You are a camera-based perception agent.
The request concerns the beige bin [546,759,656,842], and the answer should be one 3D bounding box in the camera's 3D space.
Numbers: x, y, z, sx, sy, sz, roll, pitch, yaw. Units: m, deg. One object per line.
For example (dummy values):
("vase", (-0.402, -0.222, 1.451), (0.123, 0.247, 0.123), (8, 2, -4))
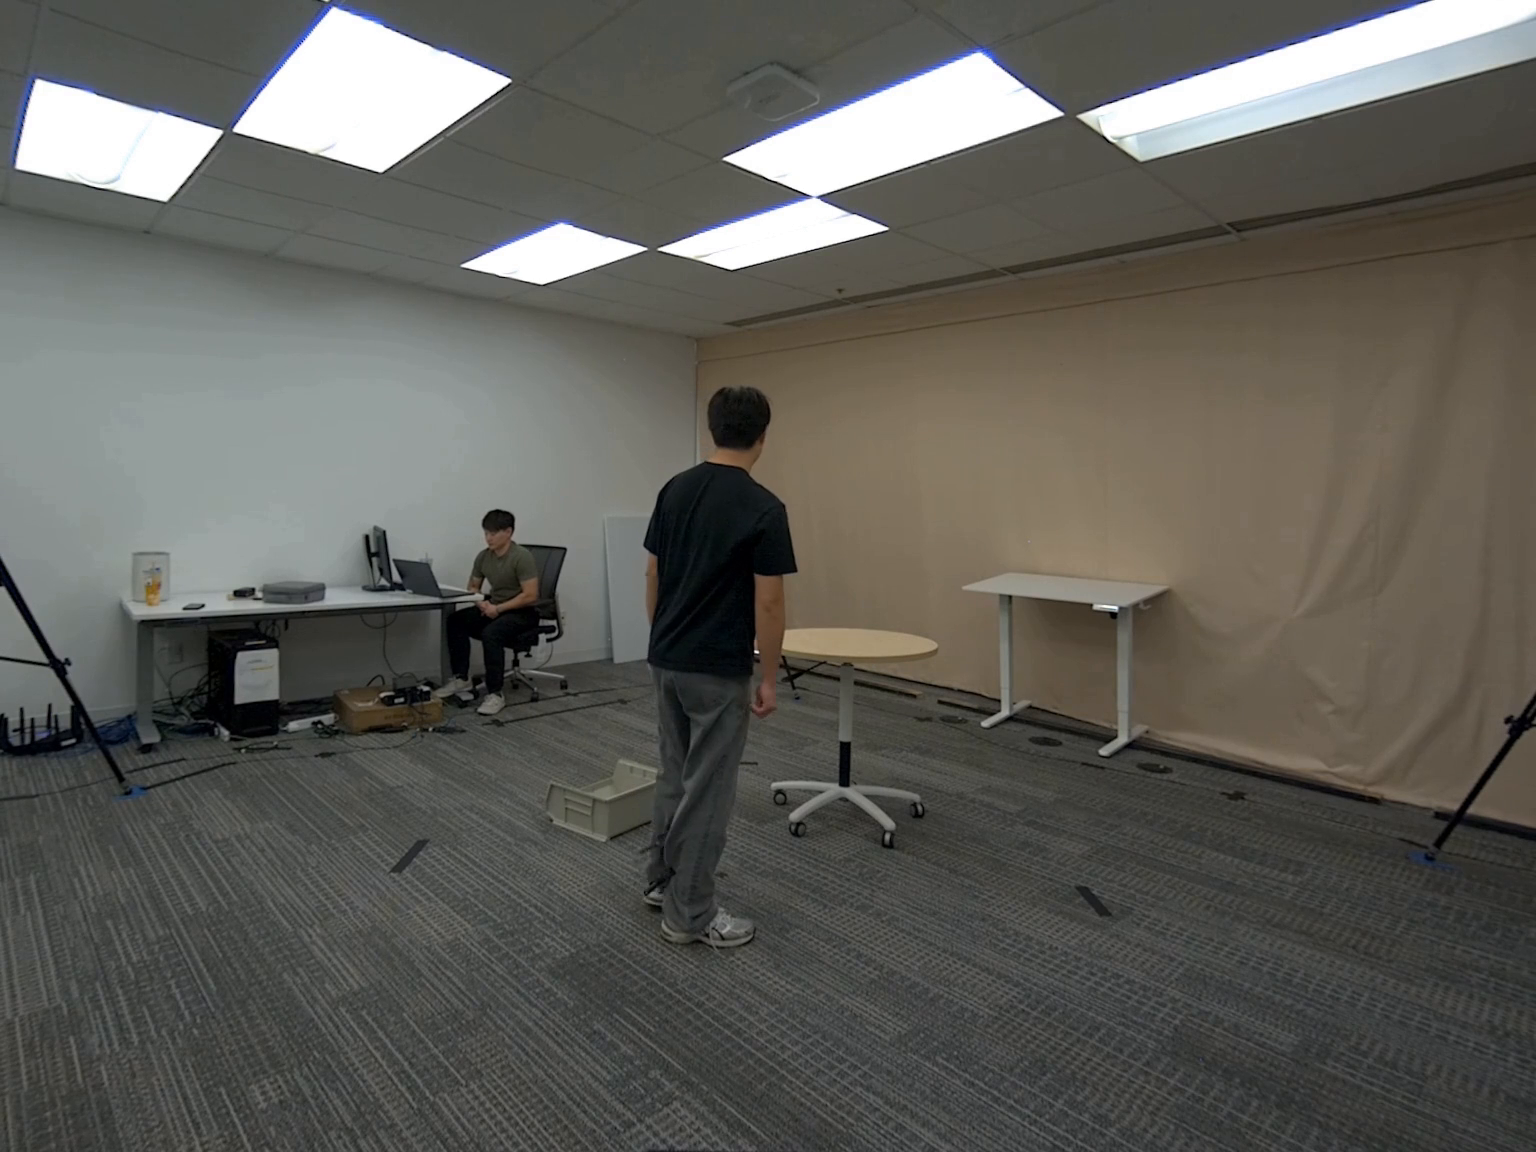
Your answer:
("beige bin", (-0.683, 0.953, 3.630), (0.387, 0.188, 0.413), (6, 6, 36))
